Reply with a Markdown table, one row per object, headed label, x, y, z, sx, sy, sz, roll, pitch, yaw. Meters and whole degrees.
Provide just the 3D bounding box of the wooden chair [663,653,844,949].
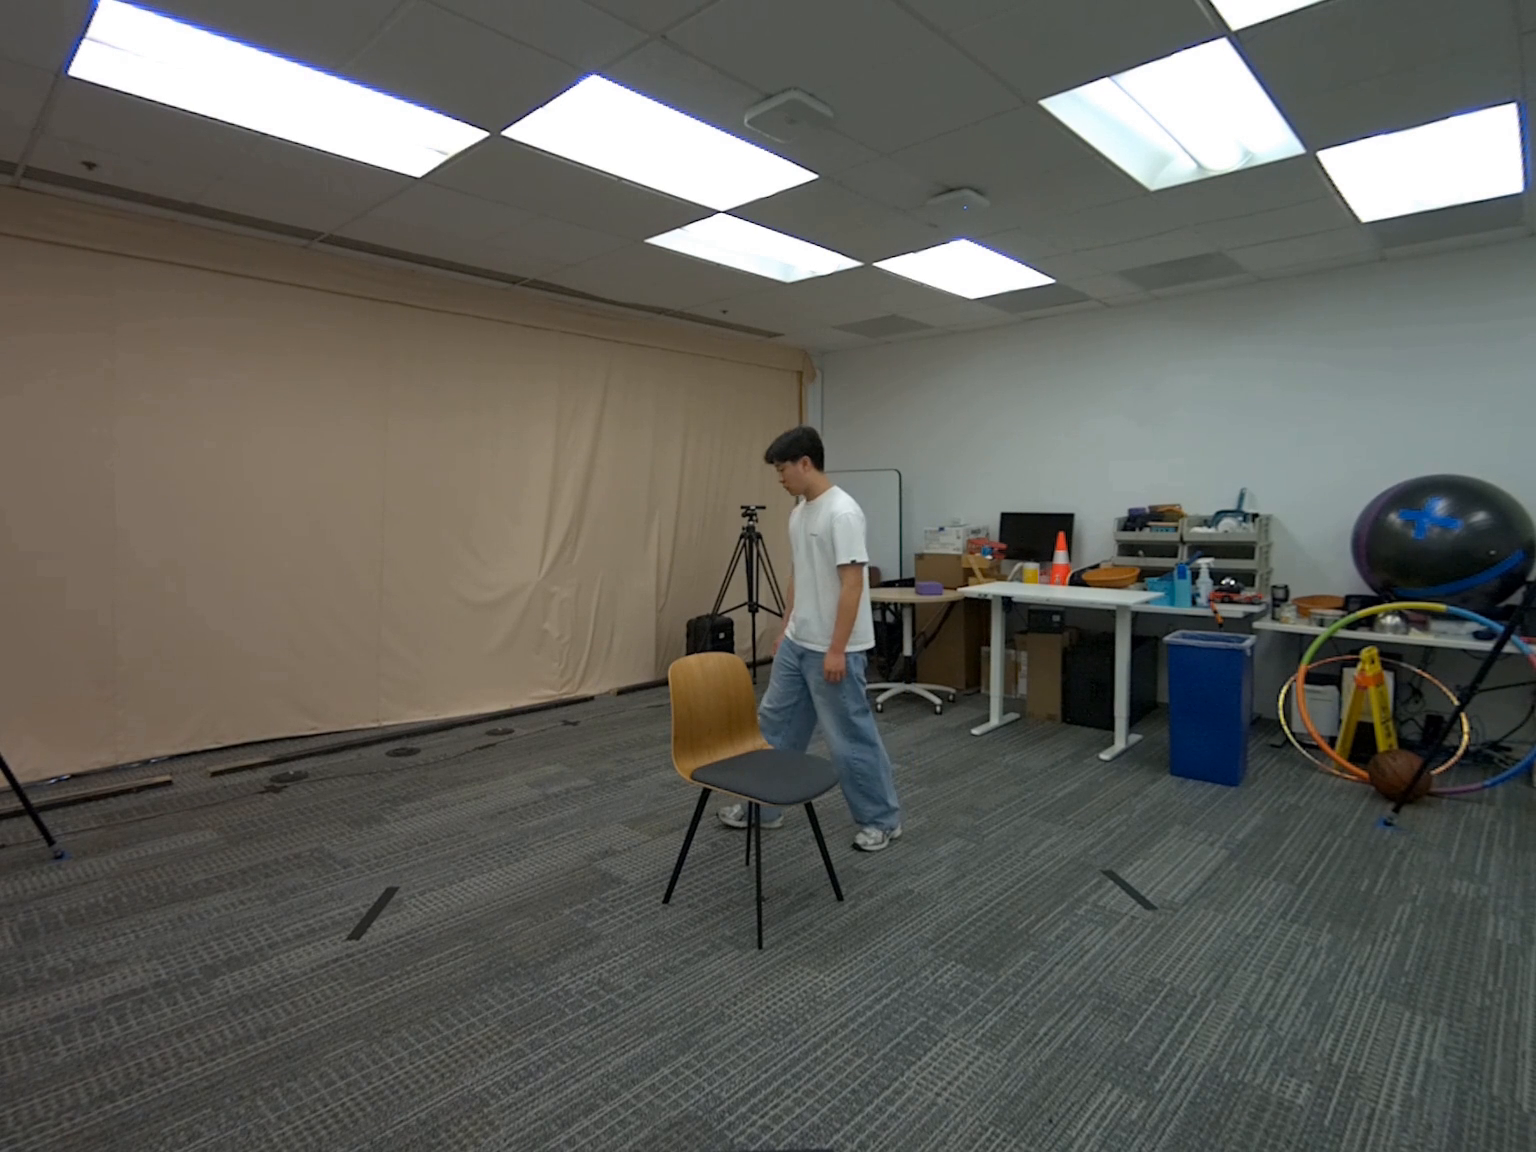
| label | x | y | z | sx | sy | sz | roll | pitch | yaw |
| --- | --- | --- | --- | --- | --- | --- | --- | --- | --- |
| wooden chair | -0.045 | 0.722 | 2.918 | 0.539 | 0.877 | 0.463 | -3 | 1 | 42 |
